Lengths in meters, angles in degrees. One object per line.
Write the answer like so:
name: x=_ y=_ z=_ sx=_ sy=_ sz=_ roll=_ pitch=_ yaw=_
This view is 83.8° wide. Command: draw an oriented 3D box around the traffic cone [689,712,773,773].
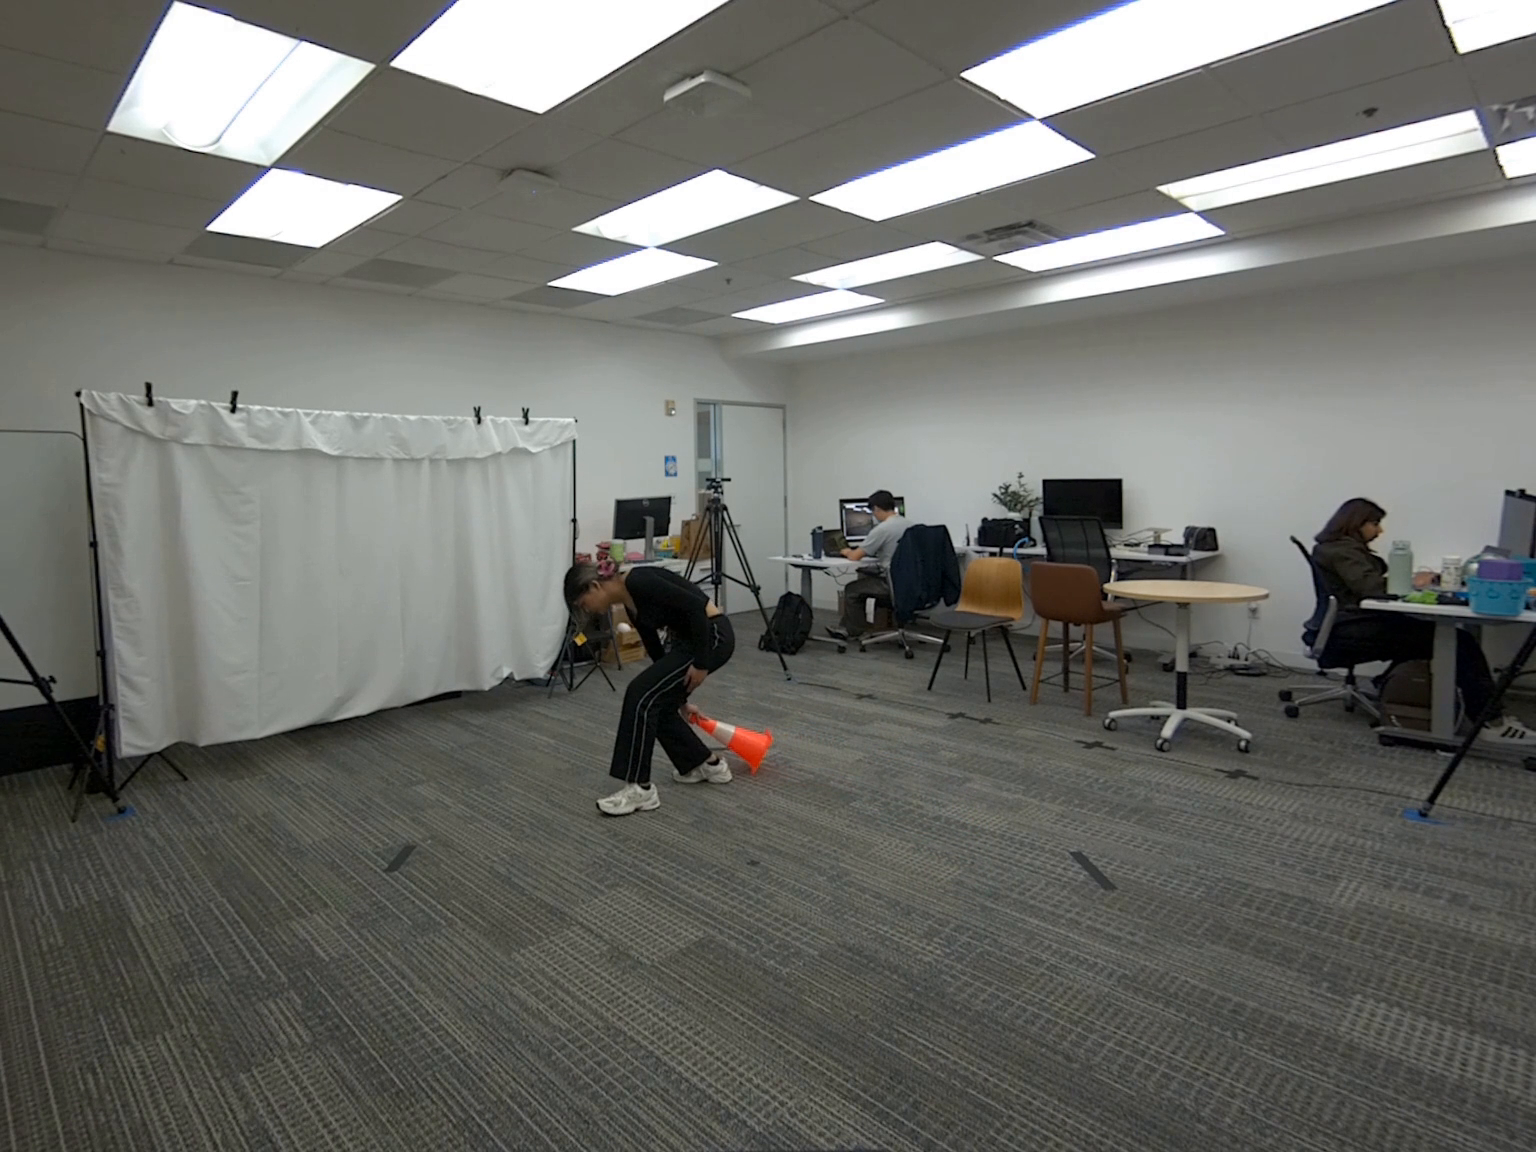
traffic cone: x=-0.200 y=0.756 z=4.105 sx=0.382 sy=0.203 sz=0.206 roll=27 pitch=1 yaw=-3
